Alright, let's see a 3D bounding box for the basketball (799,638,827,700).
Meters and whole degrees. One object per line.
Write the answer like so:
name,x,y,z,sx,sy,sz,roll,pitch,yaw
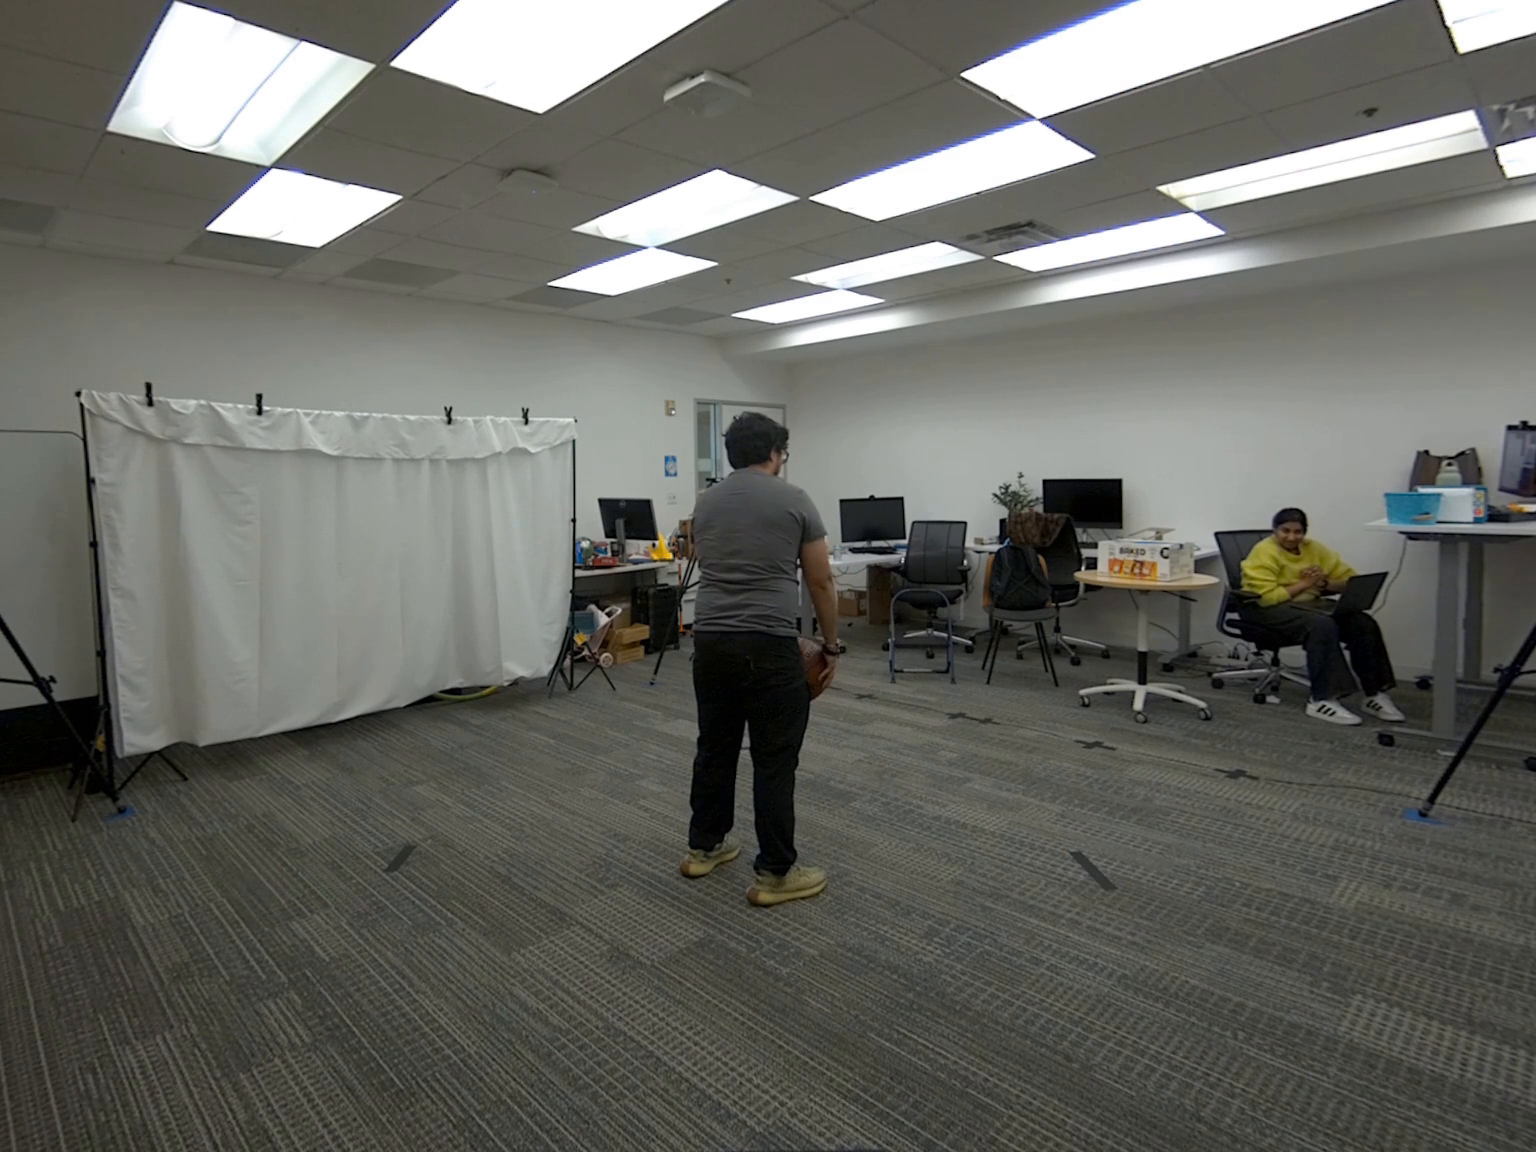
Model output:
basketball,0.115,0.341,3.107,0.236,0.235,0.237,-1,5,-2
